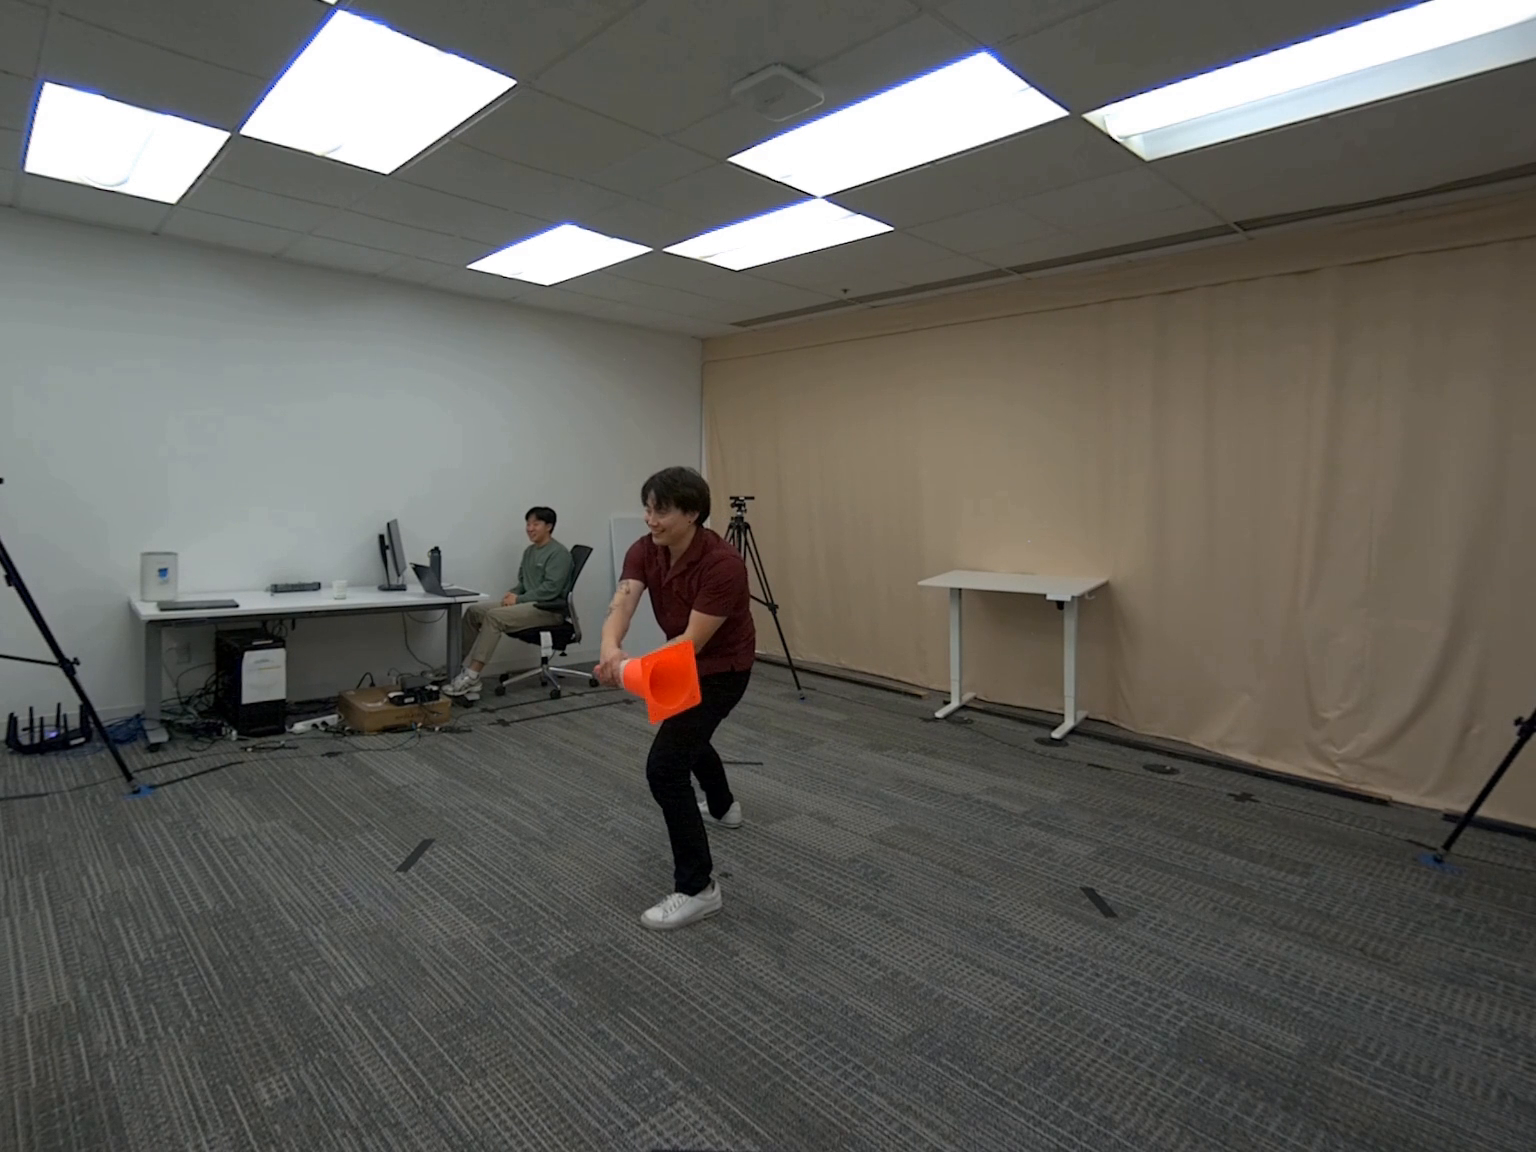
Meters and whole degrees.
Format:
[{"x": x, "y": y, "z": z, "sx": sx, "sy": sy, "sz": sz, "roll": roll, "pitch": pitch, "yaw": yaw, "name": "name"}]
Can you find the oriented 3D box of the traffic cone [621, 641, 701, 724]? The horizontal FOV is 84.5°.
[{"x": -0.415, "y": 0.303, "z": 2.567, "sx": 0.201, "sy": 0.202, "sz": 0.392, "roll": -16, "pitch": 10, "yaw": -40, "name": "traffic cone"}]
